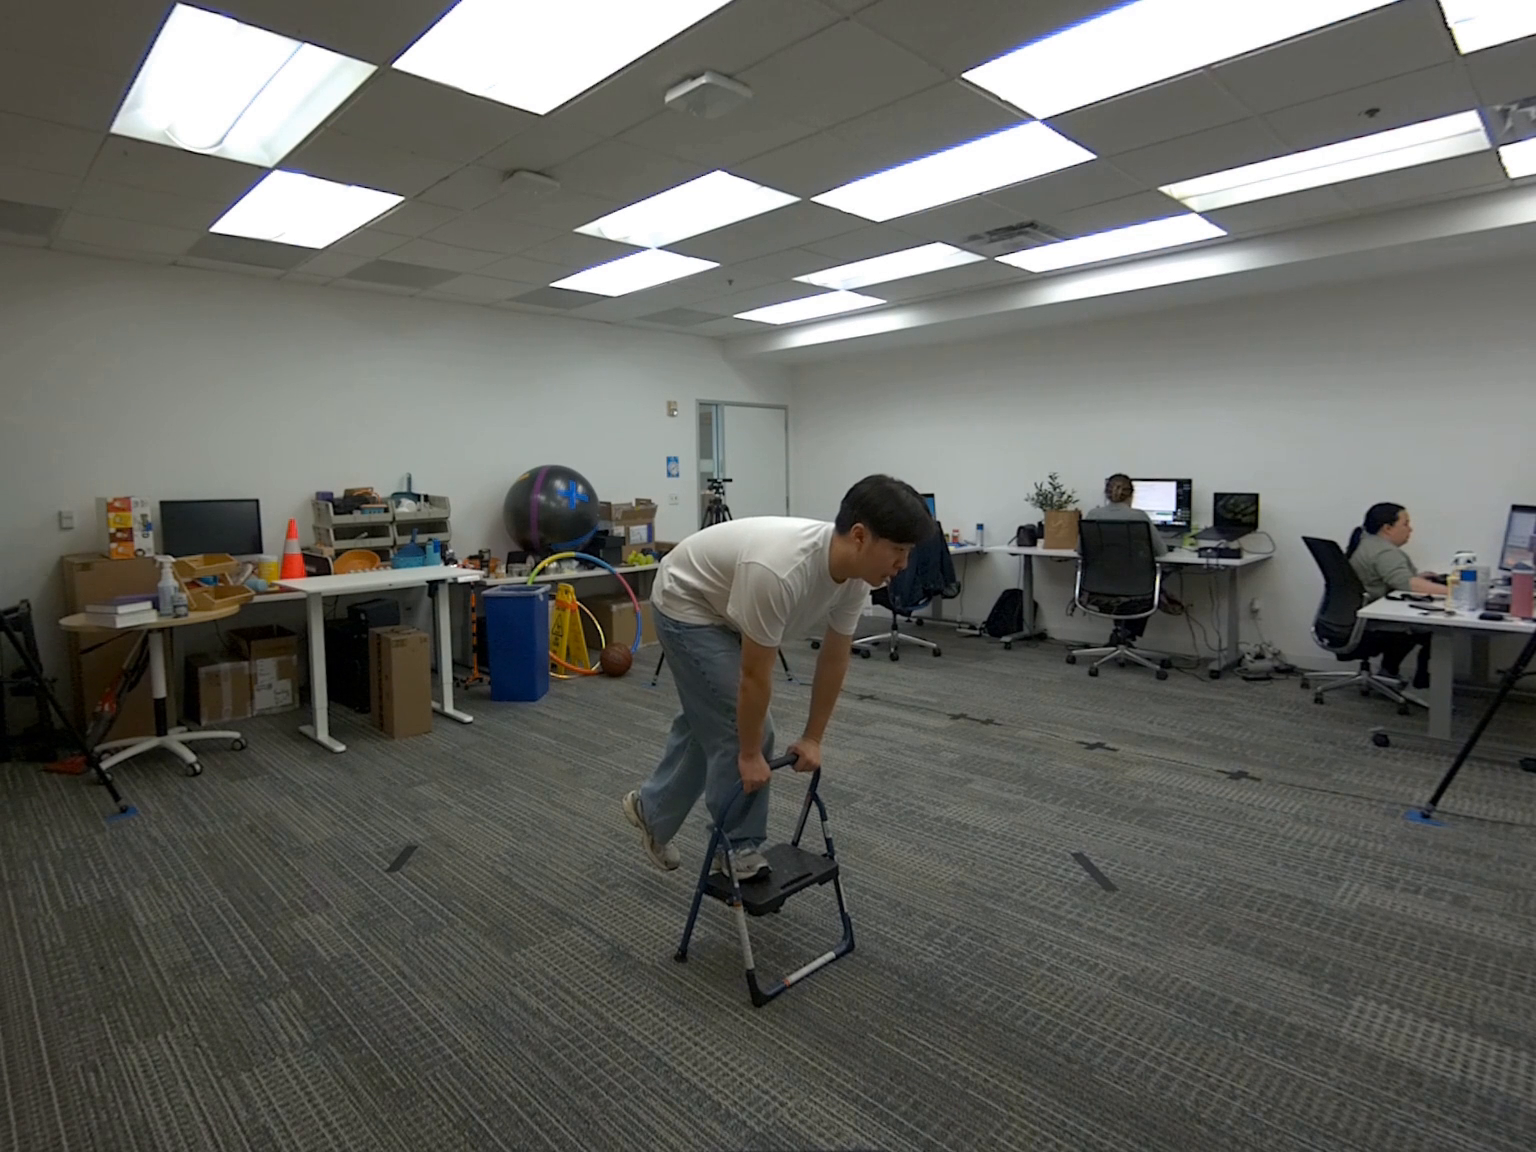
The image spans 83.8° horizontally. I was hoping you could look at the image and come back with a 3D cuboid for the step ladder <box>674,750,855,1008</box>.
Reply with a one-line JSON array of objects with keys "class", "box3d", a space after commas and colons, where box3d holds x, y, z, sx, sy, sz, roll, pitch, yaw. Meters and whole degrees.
[{"class": "step ladder", "box3d": [-0.005, 0.813, 2.498, 0.360, 0.604, 0.419, 3, 6, 45]}]
